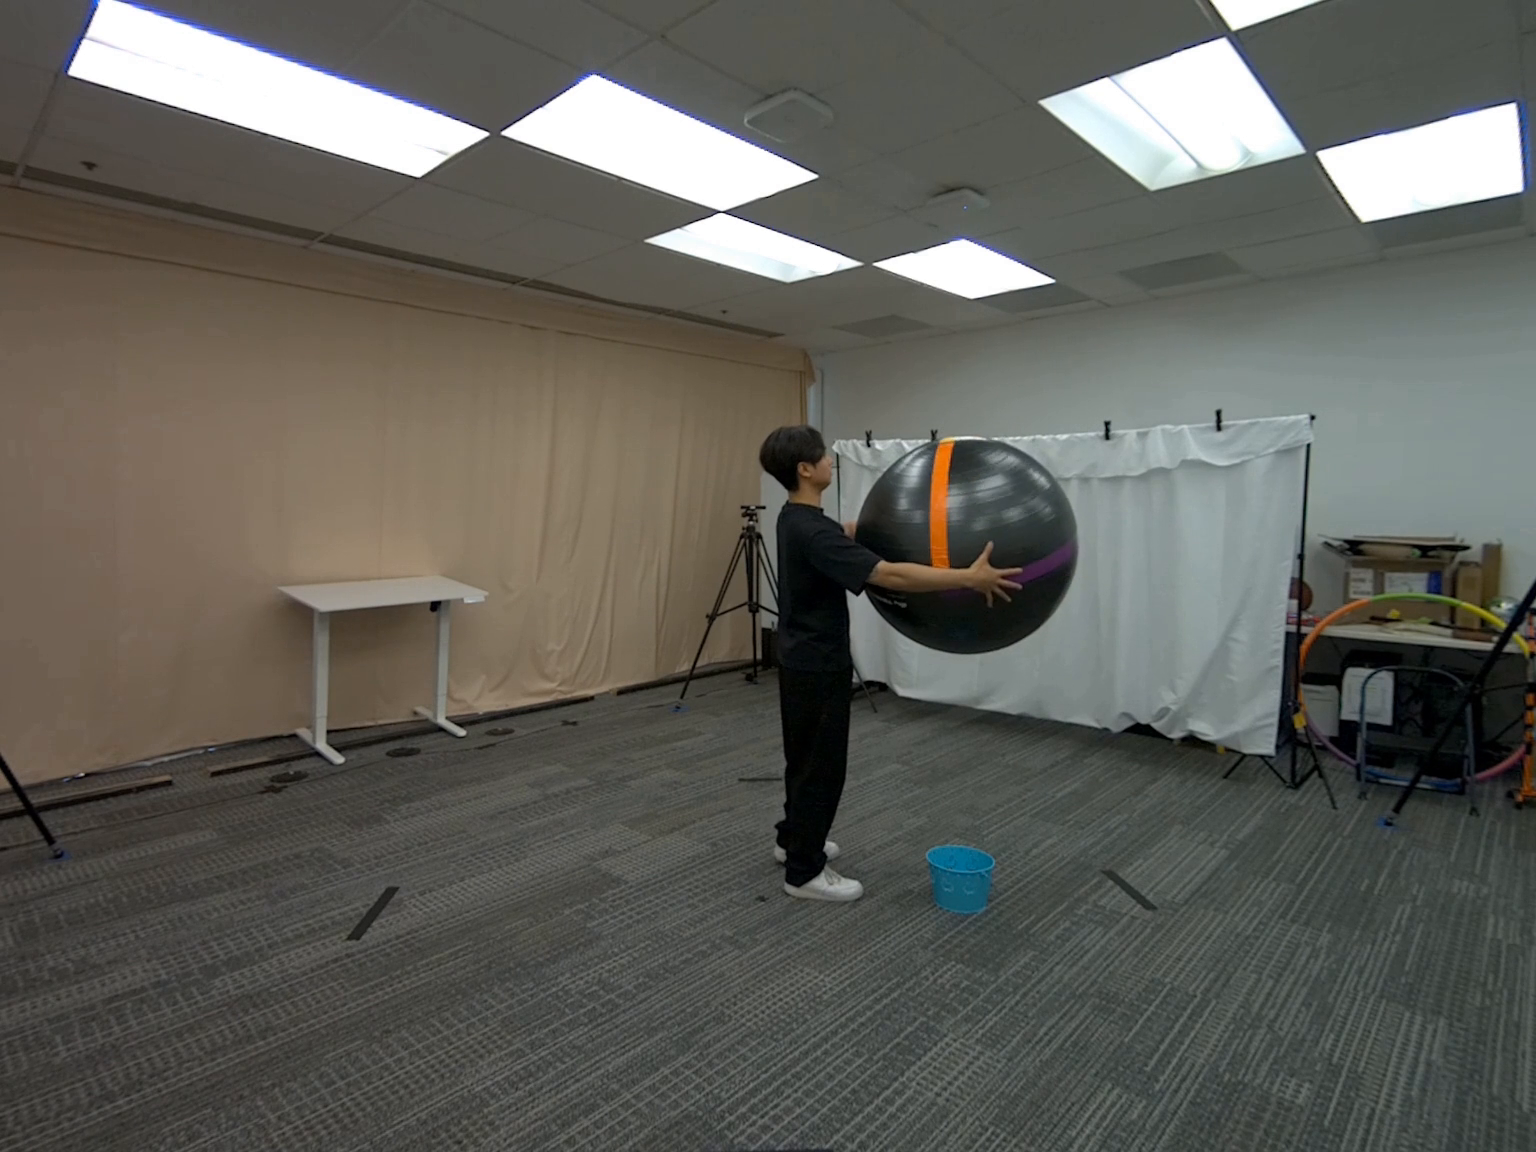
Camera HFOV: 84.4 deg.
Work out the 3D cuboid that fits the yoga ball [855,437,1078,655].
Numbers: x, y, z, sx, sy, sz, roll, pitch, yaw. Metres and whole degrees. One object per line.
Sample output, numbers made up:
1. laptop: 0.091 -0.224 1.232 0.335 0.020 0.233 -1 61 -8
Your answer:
1. yoga ball: 0.708 -0.105 2.981 0.757 0.756 0.760 0 4 -2
